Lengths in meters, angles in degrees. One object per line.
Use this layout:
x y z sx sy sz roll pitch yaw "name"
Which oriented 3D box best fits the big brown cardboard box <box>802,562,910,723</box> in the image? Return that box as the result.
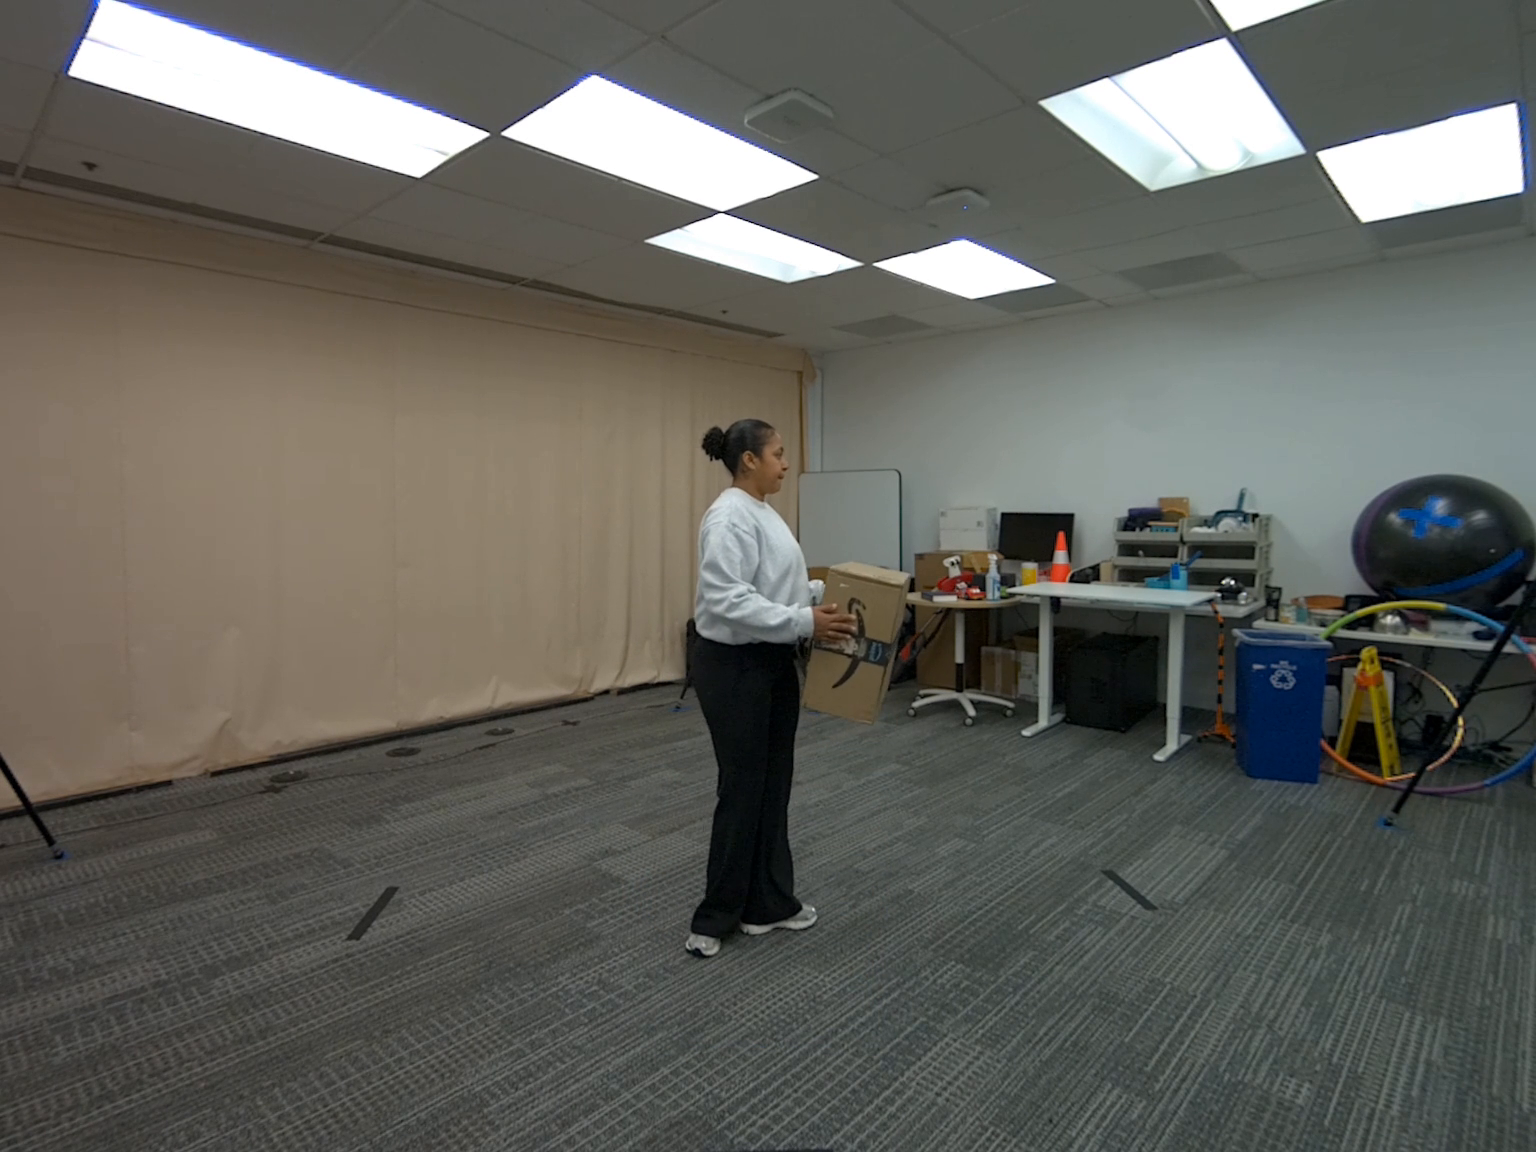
0.292 0.190 2.654 0.237 0.417 0.580 12 4 13 "big brown cardboard box"
